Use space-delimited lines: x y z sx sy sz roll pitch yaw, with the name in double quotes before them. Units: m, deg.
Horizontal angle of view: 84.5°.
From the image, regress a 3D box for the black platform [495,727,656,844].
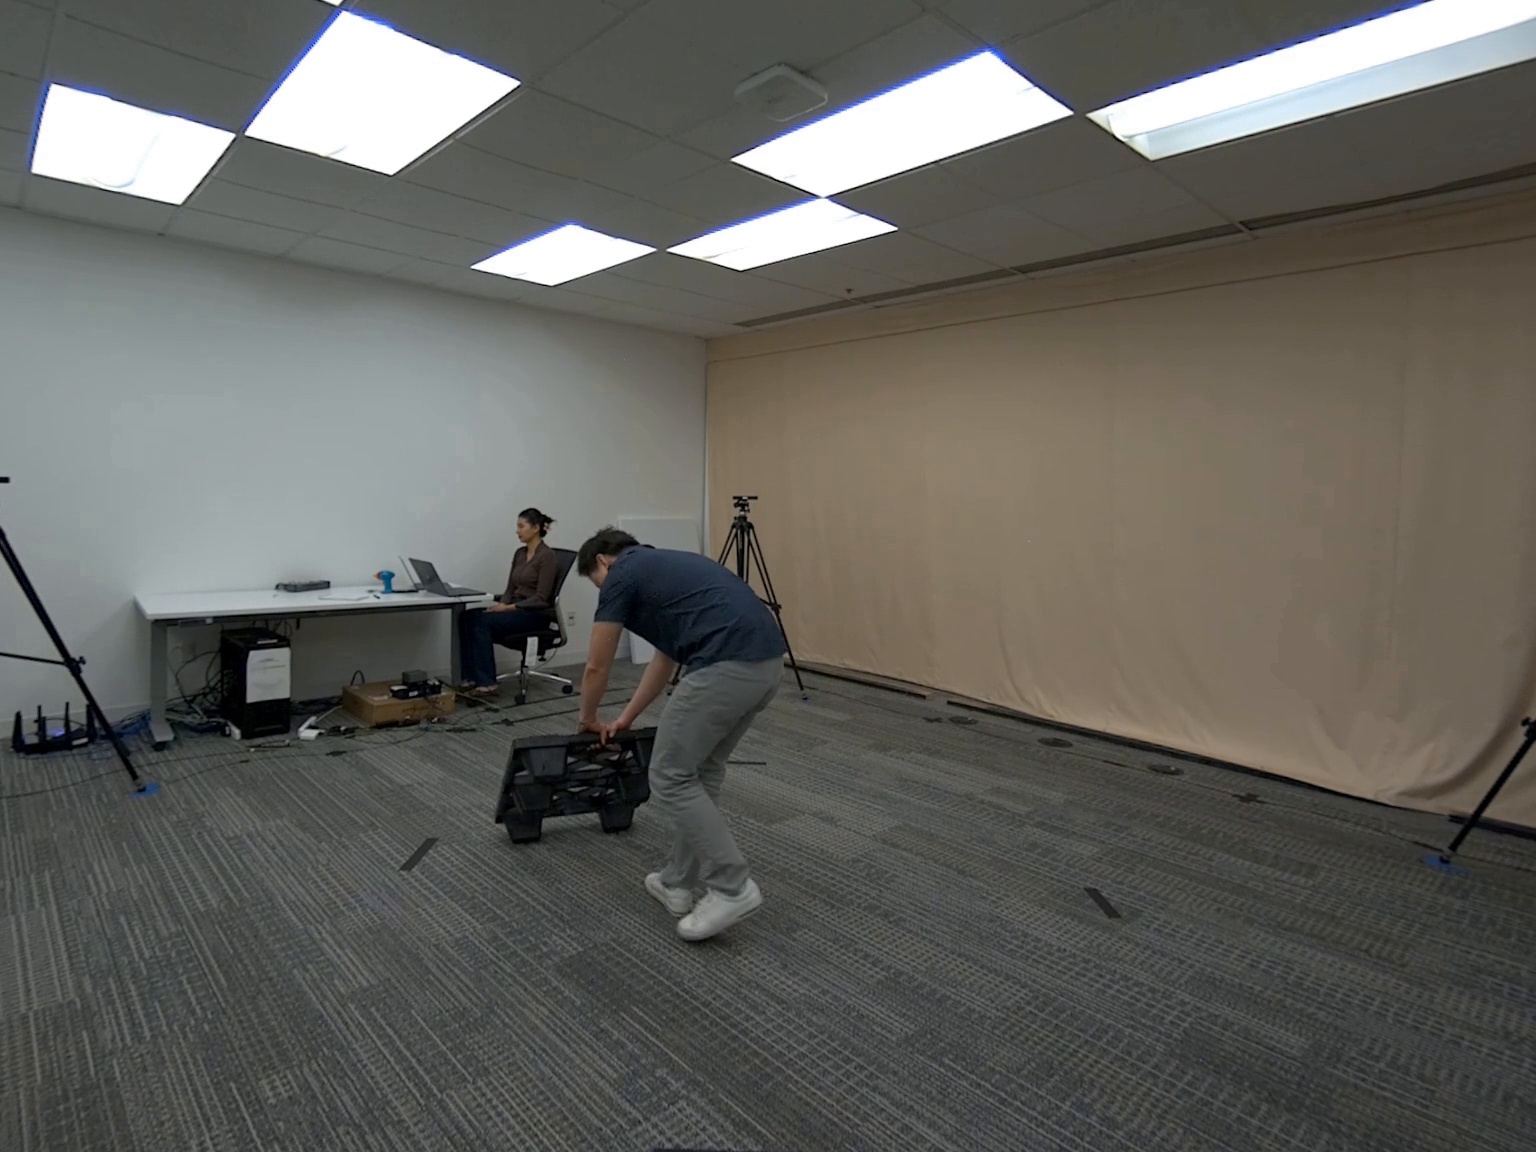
"black platform" -0.697 0.805 3.171 0.595 0.147 0.799 -1 -33 -23
